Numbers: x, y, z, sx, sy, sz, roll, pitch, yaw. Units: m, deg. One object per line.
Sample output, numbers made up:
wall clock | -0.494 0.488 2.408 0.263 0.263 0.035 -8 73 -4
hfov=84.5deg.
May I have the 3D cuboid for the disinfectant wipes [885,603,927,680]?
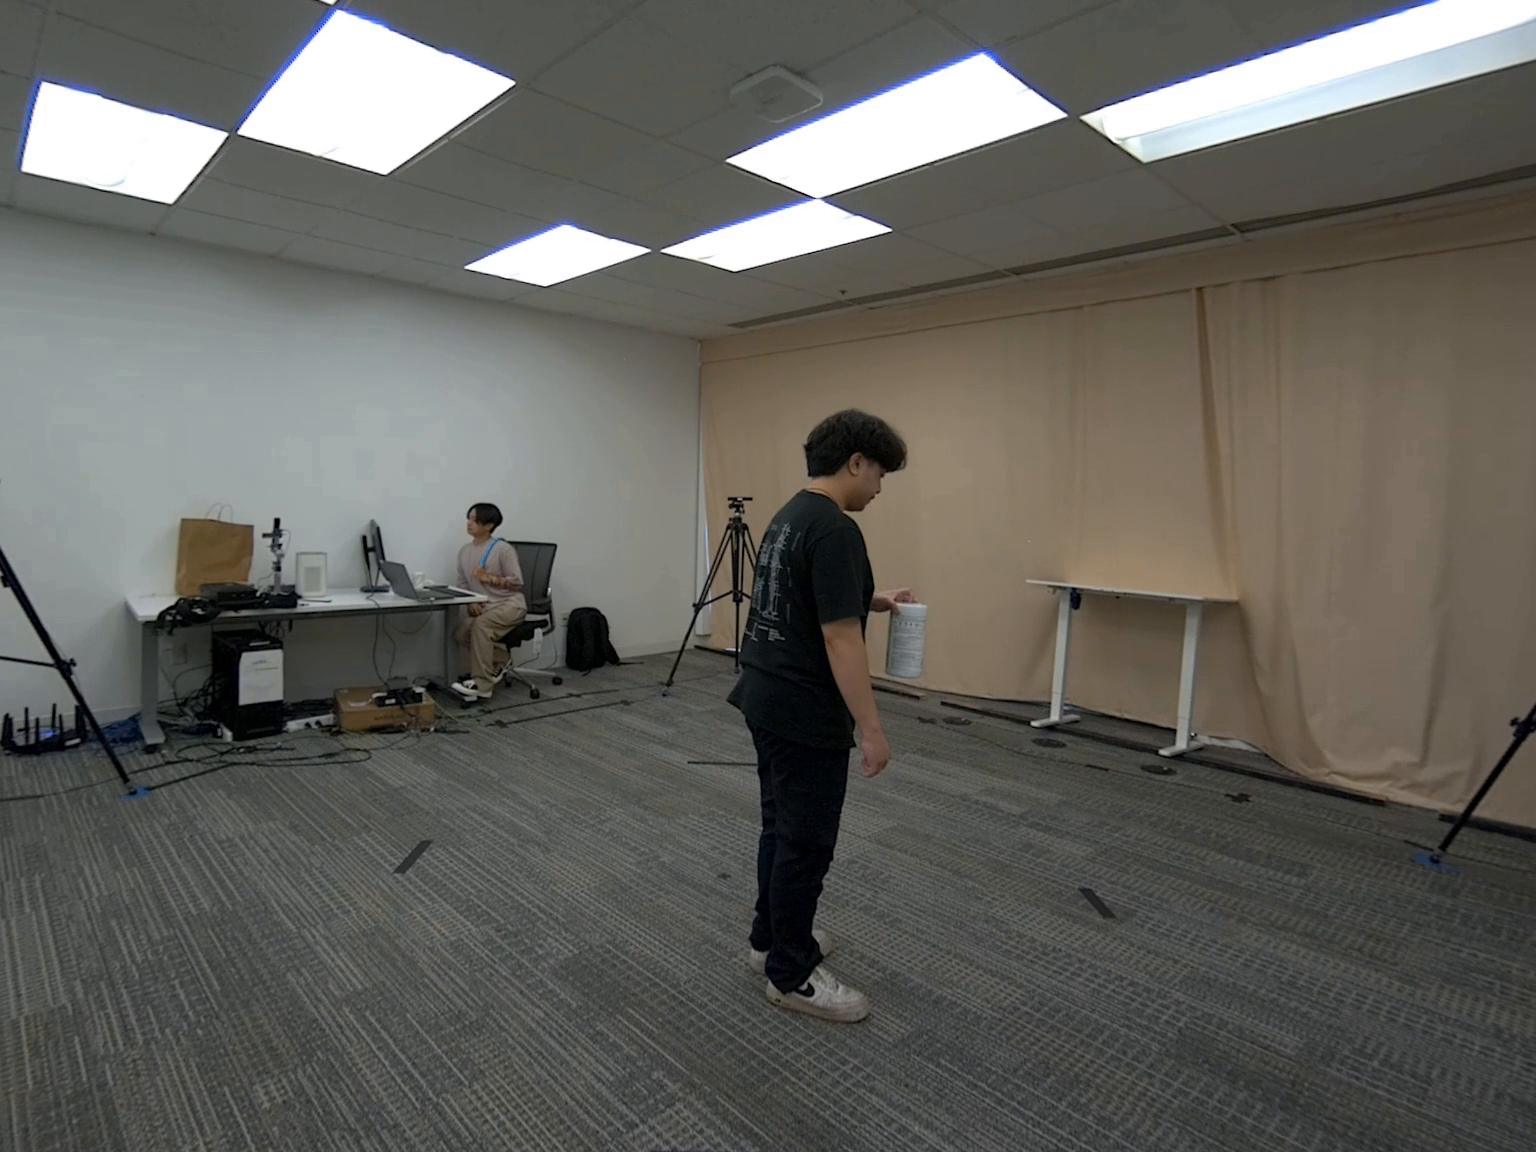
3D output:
disinfectant wipes | 0.398 0.192 2.504 0.118 0.217 0.118 4 2 -2
